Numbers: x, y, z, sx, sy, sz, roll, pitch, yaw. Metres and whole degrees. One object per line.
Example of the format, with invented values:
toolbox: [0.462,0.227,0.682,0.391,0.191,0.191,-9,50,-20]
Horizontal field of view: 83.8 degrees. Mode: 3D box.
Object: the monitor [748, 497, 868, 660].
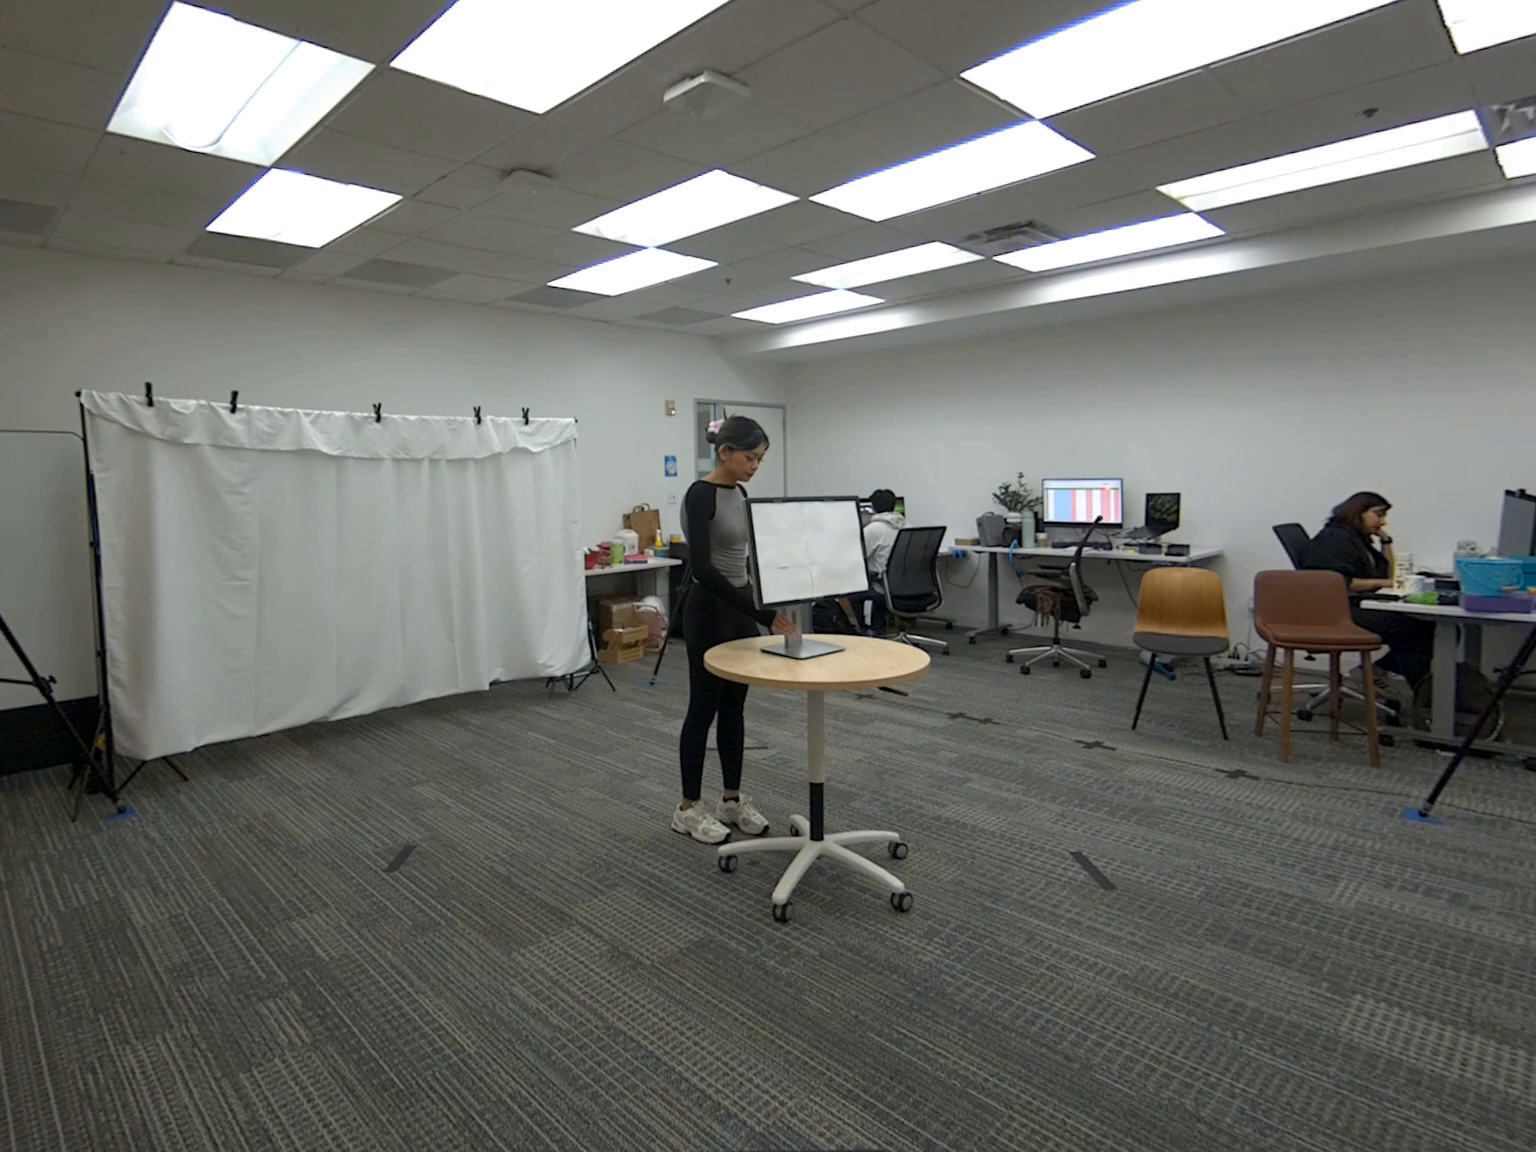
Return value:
monitor: [0.120,-0.002,2.981,0.193,0.520,0.525,6,8,45]
